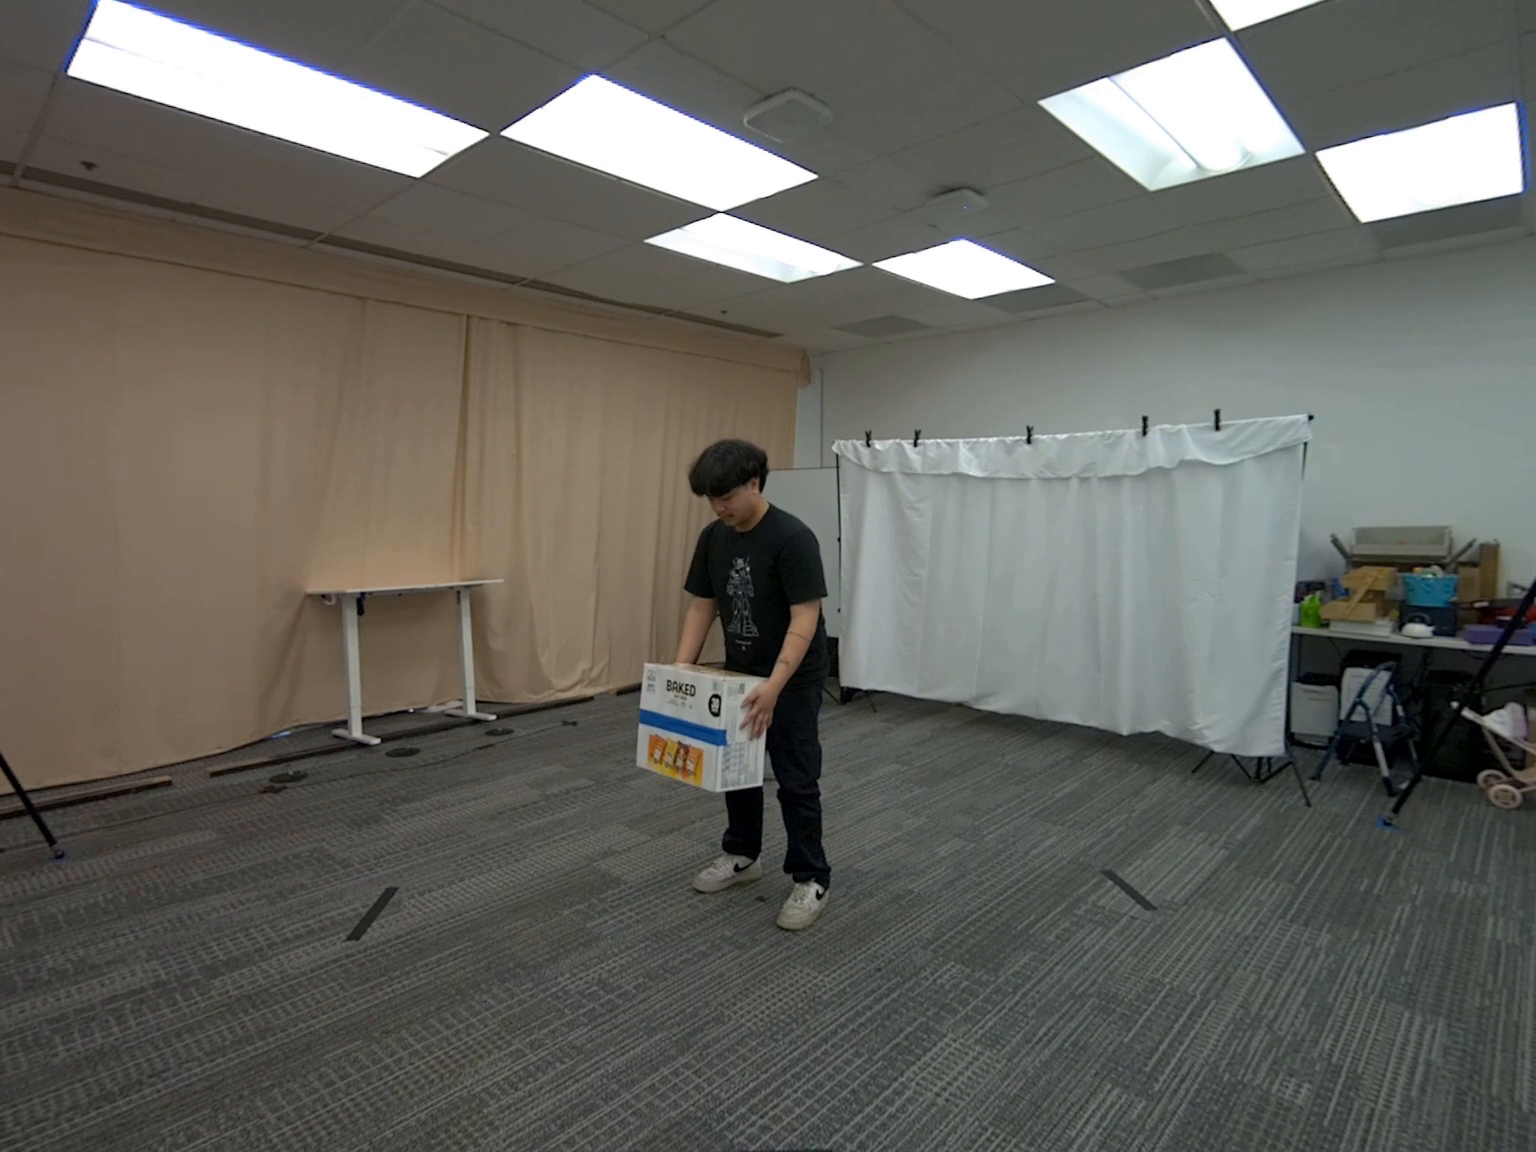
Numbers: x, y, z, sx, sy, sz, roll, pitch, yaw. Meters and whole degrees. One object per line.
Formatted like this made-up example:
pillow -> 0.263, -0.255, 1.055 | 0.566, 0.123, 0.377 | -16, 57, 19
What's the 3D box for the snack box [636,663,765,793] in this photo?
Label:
snack box -> -0.215, 0.478, 2.734 | 0.199, 0.341, 0.418 | 6, -3, -44
